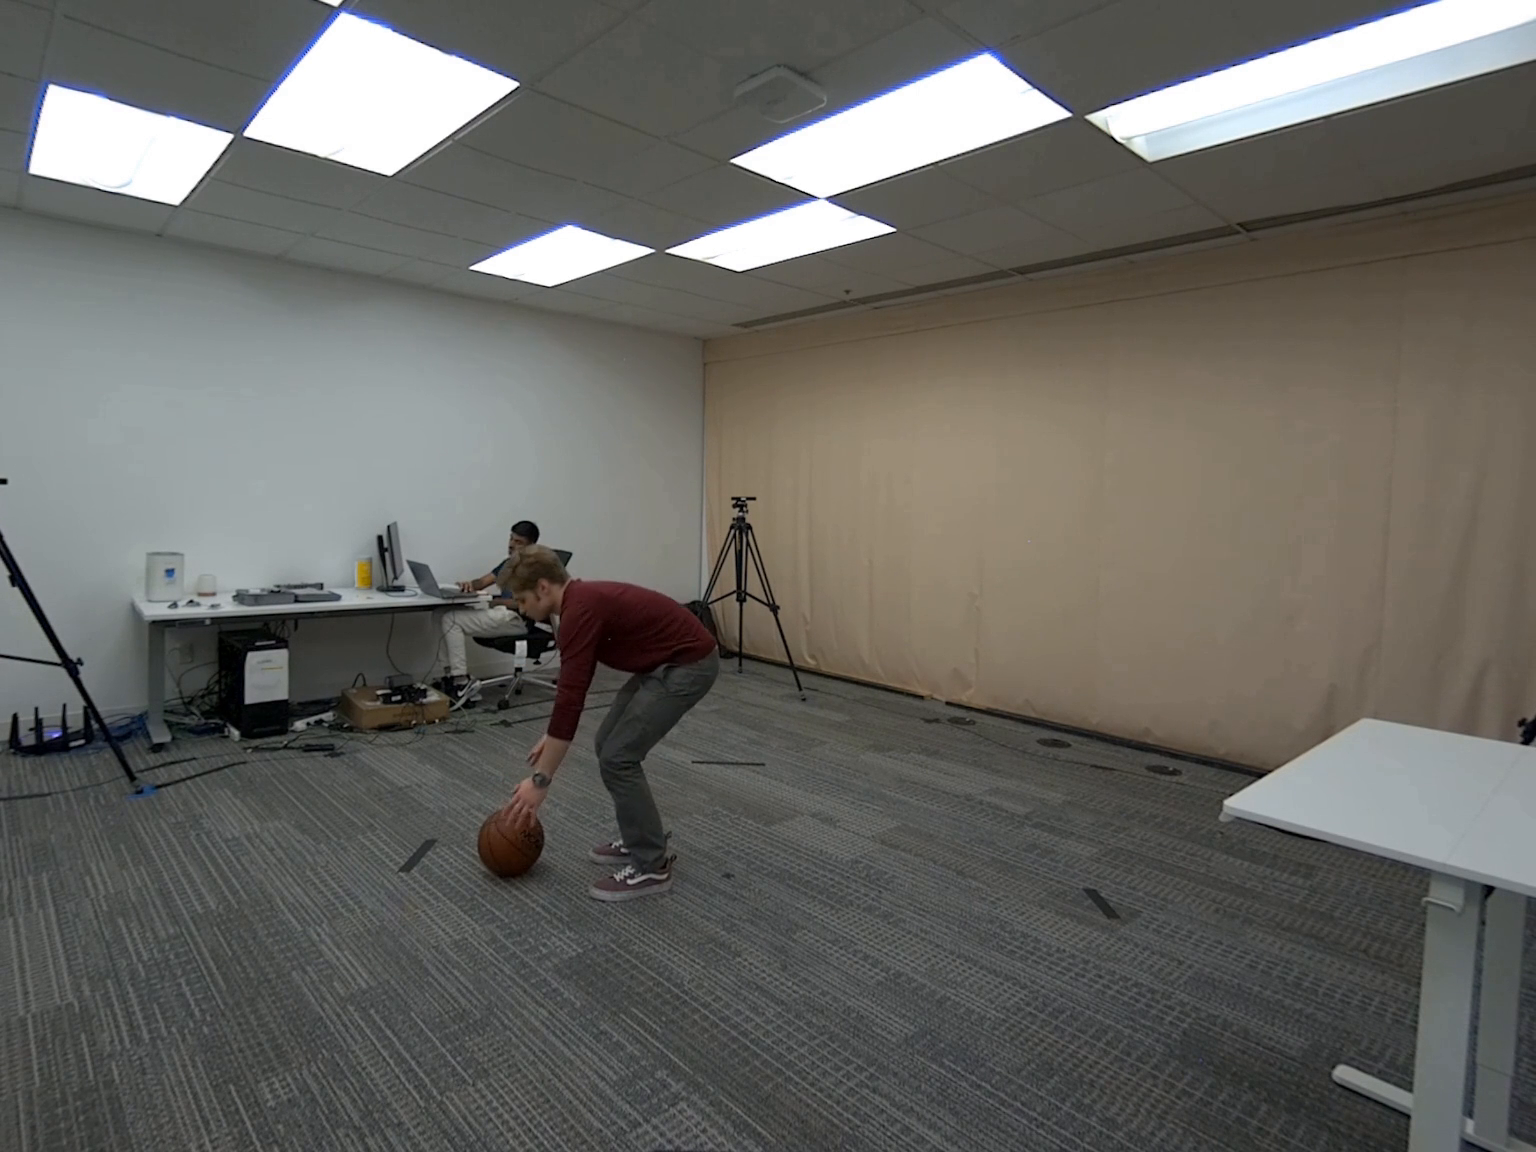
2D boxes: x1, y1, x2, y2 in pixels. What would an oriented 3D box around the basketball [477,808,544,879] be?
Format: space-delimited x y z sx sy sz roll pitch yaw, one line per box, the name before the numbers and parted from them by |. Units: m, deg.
basketball | -0.952 0.968 3.089 0.236 0.235 0.237 1 4 -1
